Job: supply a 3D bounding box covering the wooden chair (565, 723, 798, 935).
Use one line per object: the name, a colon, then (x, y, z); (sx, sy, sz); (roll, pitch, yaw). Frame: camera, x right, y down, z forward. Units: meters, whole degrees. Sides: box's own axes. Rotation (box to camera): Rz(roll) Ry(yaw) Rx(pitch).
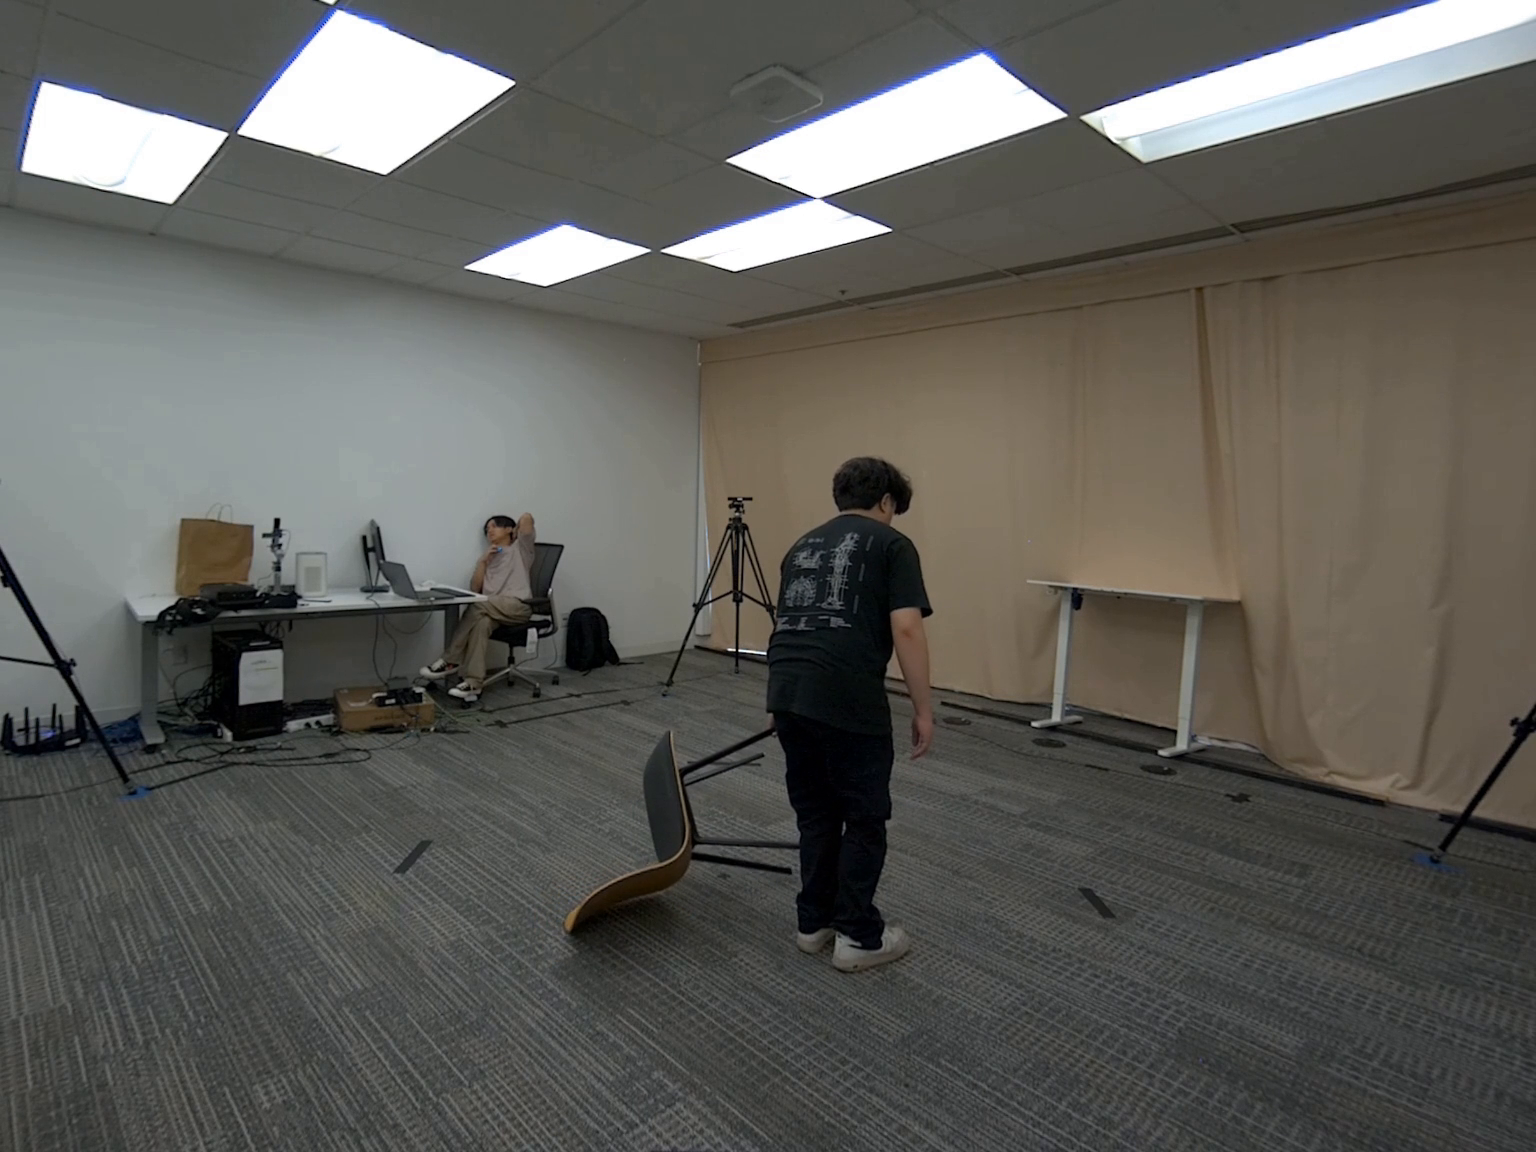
wooden chair: (-0.303, 0.813, 2.855); (0.865, 0.534, 0.475); (-8, -25, -21)
